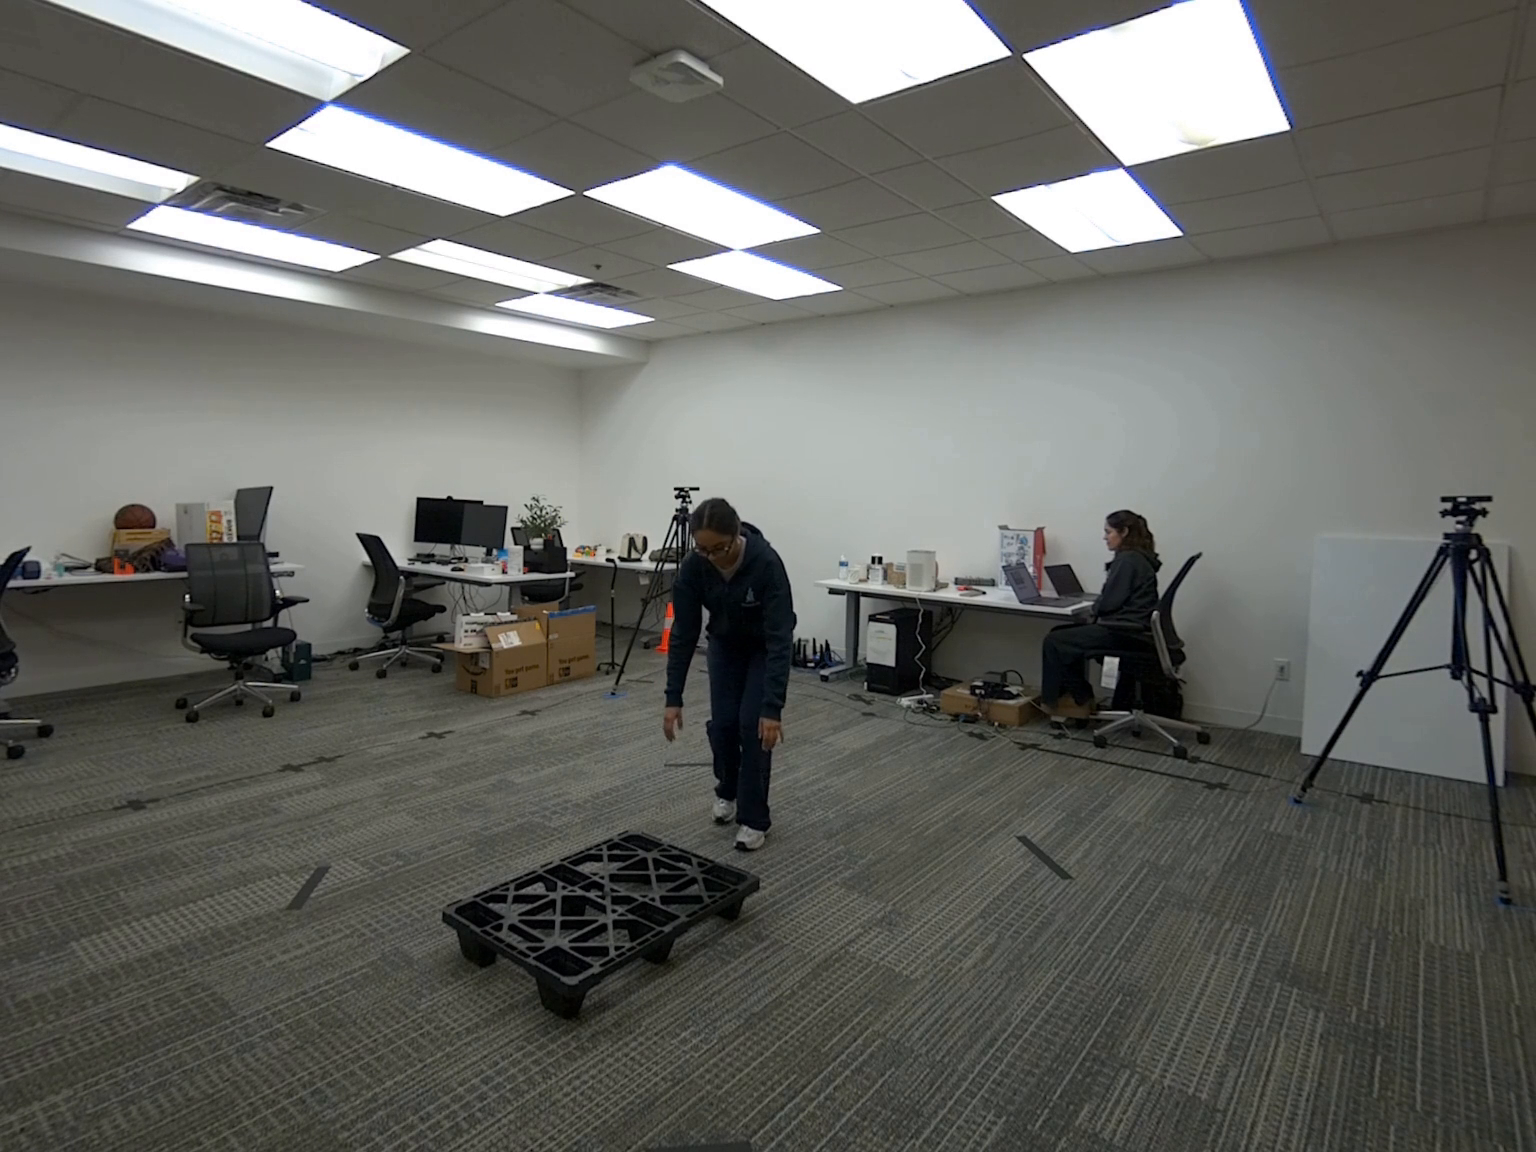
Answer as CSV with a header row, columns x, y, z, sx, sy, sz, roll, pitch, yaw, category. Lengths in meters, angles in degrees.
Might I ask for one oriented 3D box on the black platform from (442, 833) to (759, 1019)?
x,y,z,sx,sy,sz,roll,pitch,yaw,category
-0.501,1.043,2.636,0.625,0.142,0.783,6,8,38,black platform
